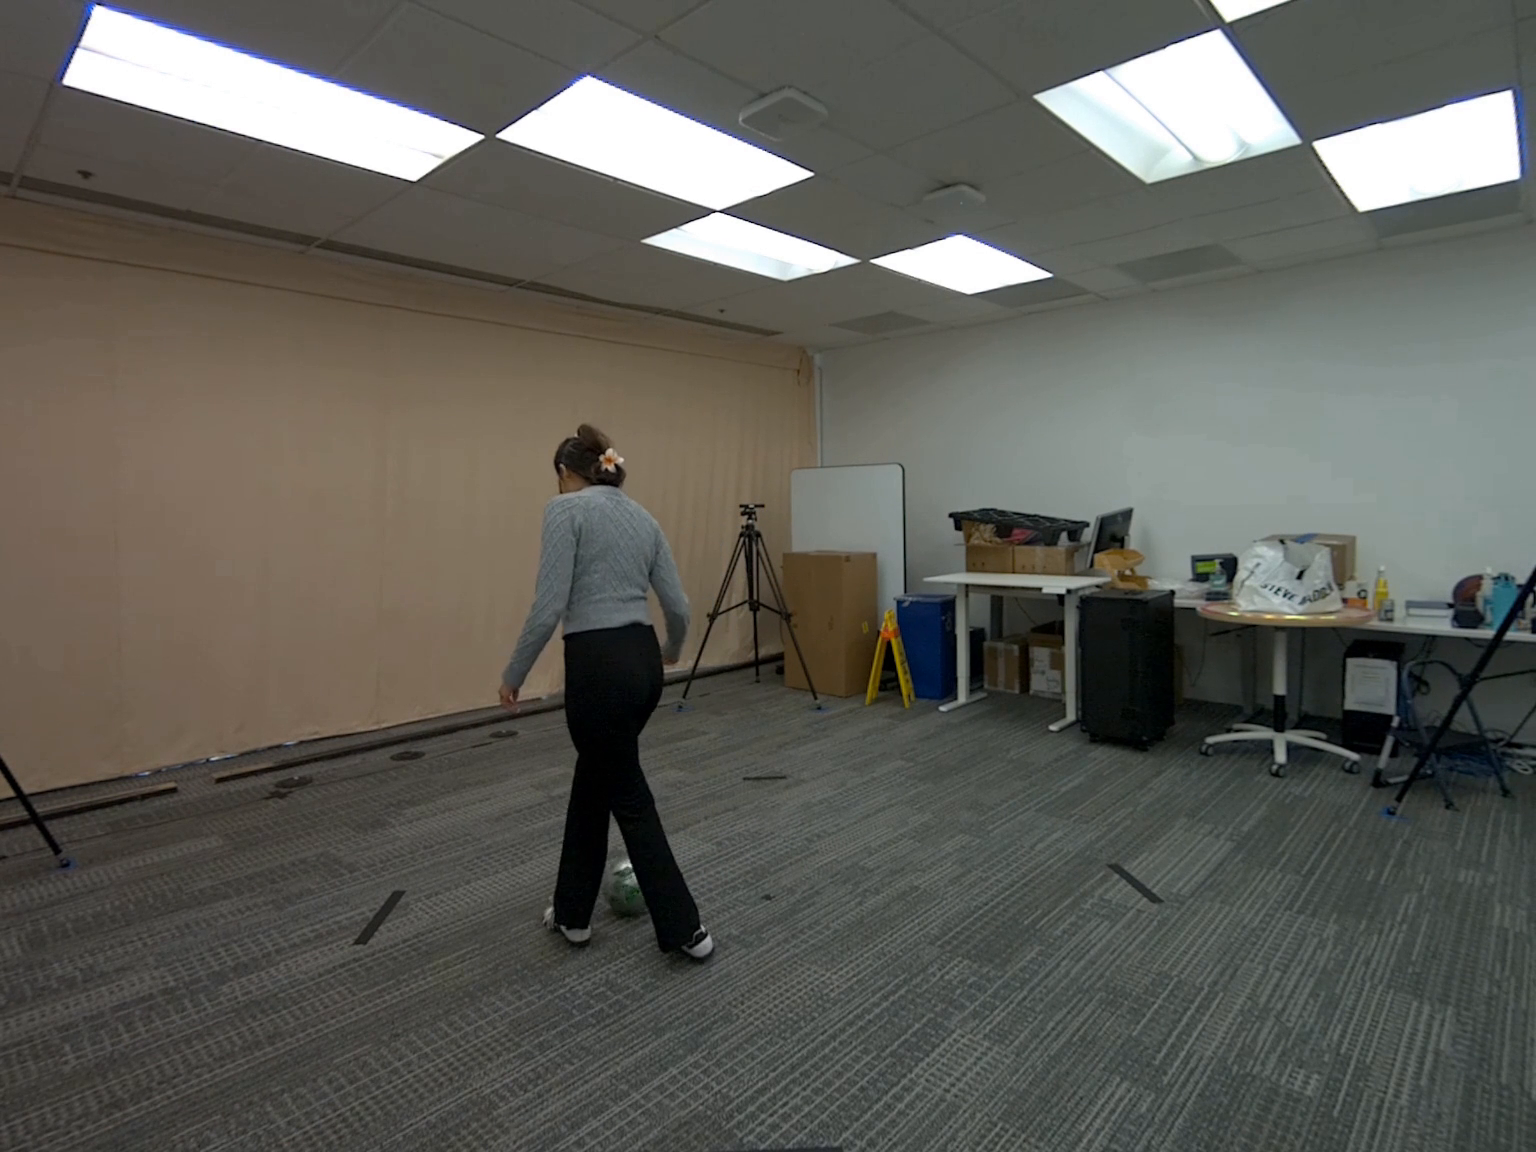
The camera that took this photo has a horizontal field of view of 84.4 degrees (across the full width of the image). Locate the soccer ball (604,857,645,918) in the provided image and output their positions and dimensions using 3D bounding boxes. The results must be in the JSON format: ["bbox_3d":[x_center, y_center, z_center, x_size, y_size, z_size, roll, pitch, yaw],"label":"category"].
[{"bbox_3d":[-0.471,1.065,2.897,0.187,0.187,0.188,-1,4,-2],"label":"soccer ball"}]
